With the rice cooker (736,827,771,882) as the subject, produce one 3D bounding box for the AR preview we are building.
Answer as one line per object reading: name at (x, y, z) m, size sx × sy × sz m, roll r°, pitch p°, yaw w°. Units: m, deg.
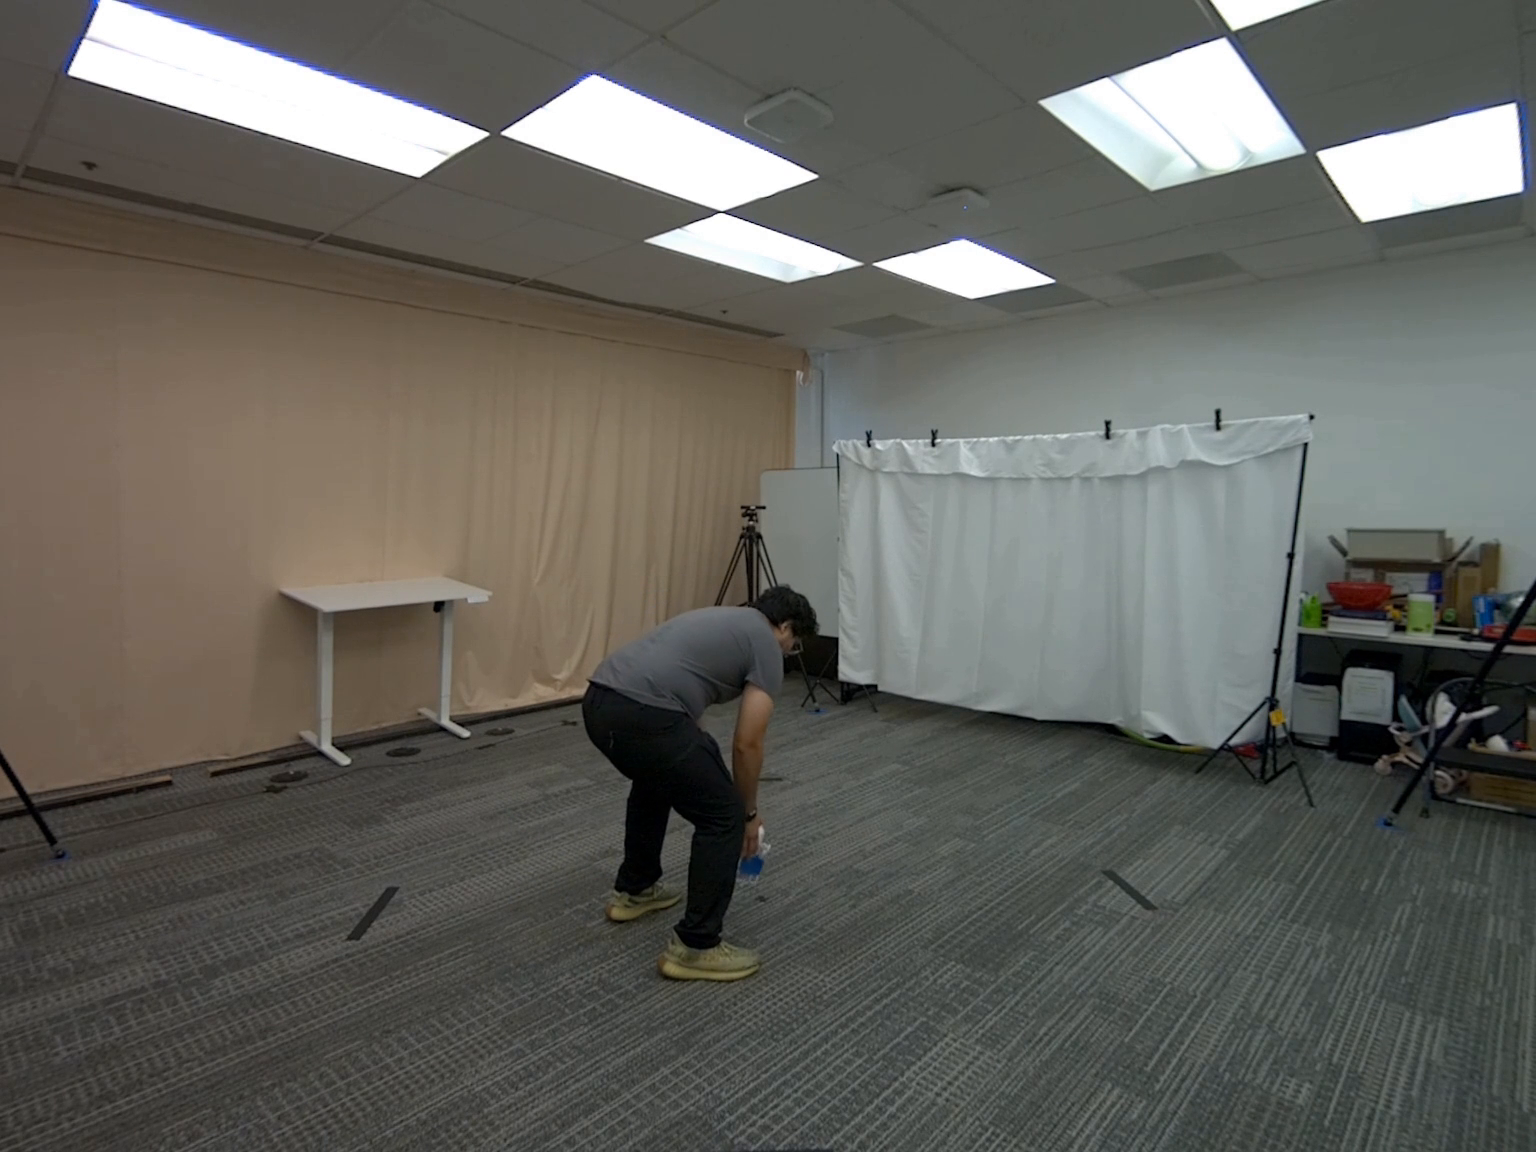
rice cooker at (-0.119, 0.890, 2.830) m, size 0.210 × 0.233 × 0.227 m, roll 25°, pitch -7°, yaw -32°
